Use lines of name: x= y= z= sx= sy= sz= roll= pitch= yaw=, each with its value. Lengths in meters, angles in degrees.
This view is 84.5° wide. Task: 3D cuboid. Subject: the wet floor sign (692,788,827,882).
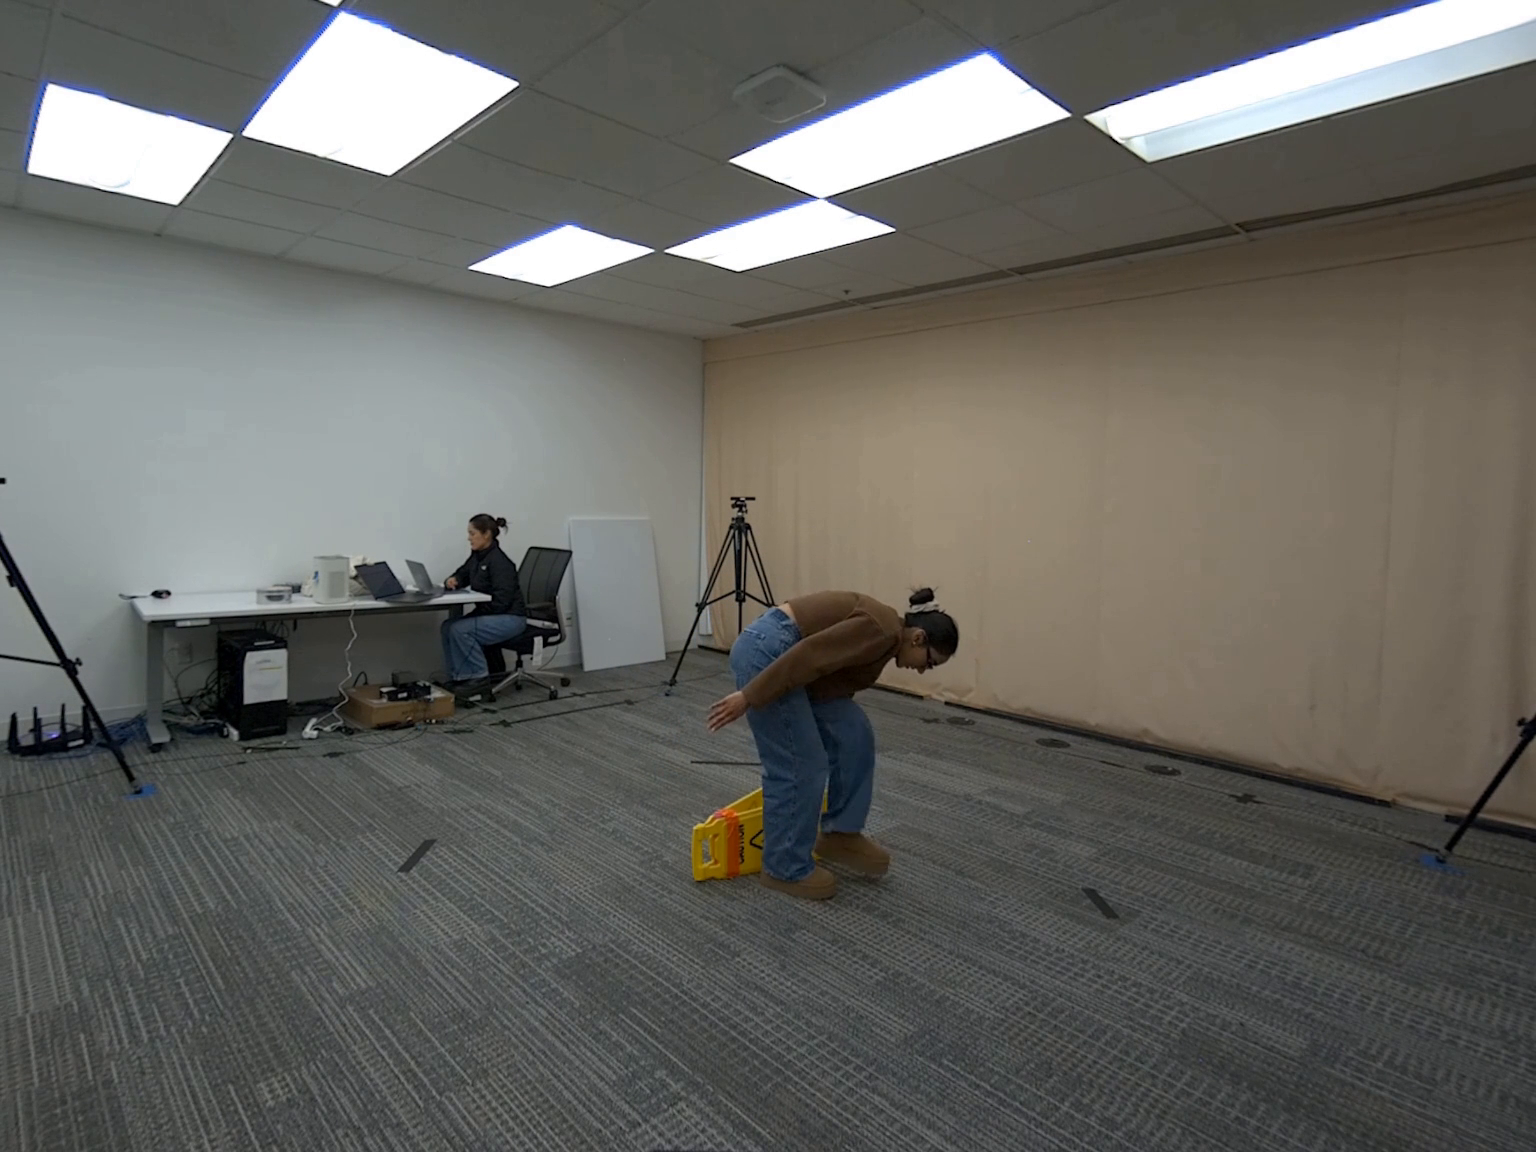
wet floor sign: x=-0.019 y=0.971 z=3.217 sx=0.632 sy=0.281 sz=0.297 roll=-6 pitch=7 yaw=-38
